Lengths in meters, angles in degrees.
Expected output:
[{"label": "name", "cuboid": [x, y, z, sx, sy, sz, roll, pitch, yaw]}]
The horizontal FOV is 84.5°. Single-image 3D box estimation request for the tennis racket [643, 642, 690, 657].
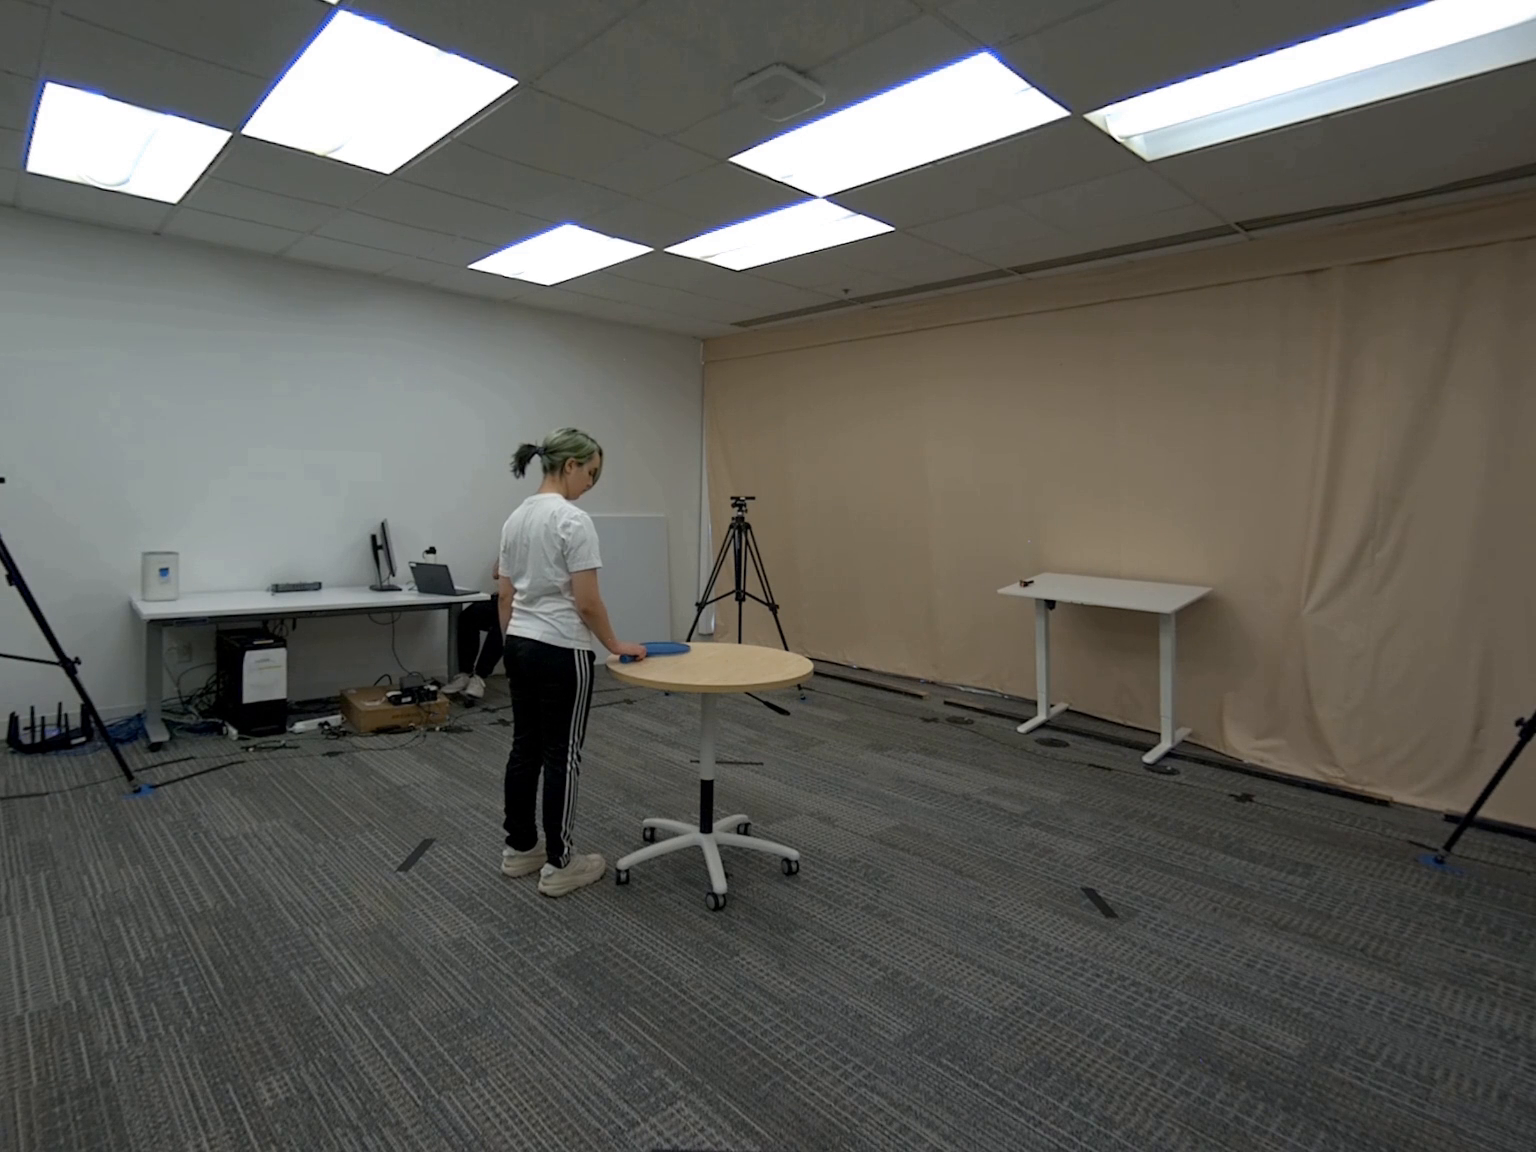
[{"label": "tennis racket", "cuboid": [-0.469, 0.288, 3.240, 0.218, 0.031, 0.425, 7, 6, 27]}]
